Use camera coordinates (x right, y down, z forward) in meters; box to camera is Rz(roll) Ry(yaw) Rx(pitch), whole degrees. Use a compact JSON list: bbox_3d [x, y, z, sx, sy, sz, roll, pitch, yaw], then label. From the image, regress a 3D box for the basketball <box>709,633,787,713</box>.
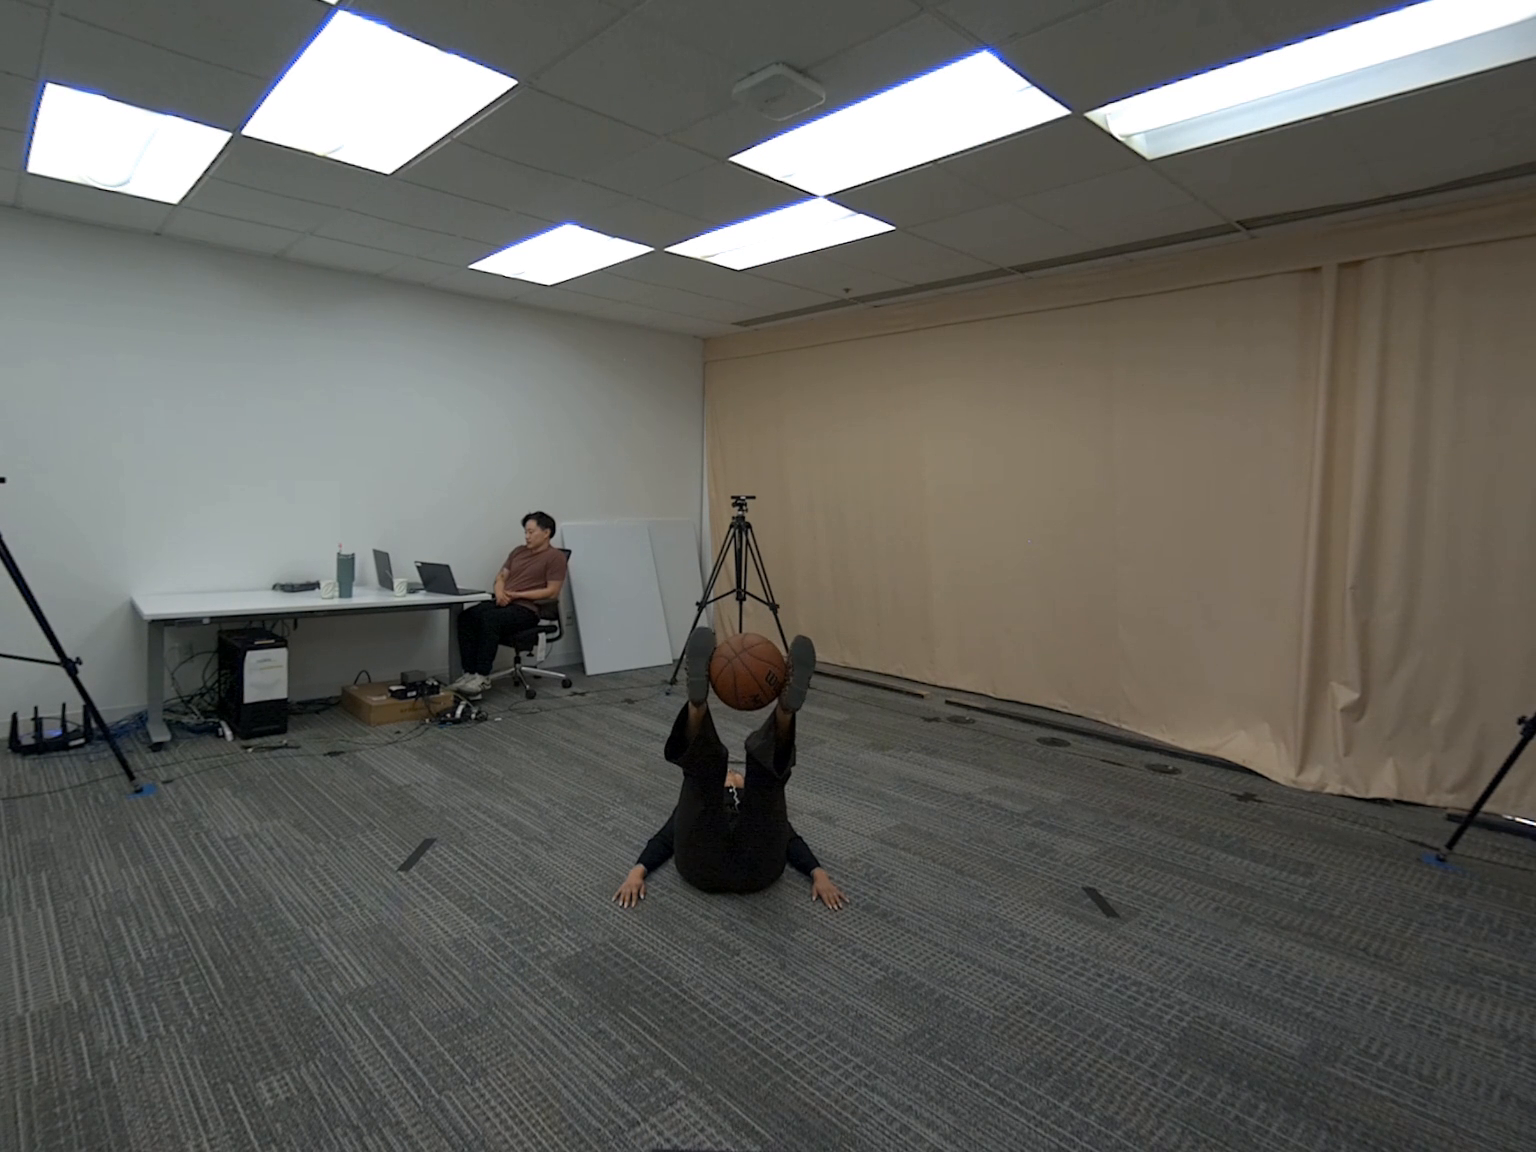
[{"bbox_3d":[-0.074,0.292,2.569,0.235,0.235,0.237,4,5,-2],"label":"basketball"}]
